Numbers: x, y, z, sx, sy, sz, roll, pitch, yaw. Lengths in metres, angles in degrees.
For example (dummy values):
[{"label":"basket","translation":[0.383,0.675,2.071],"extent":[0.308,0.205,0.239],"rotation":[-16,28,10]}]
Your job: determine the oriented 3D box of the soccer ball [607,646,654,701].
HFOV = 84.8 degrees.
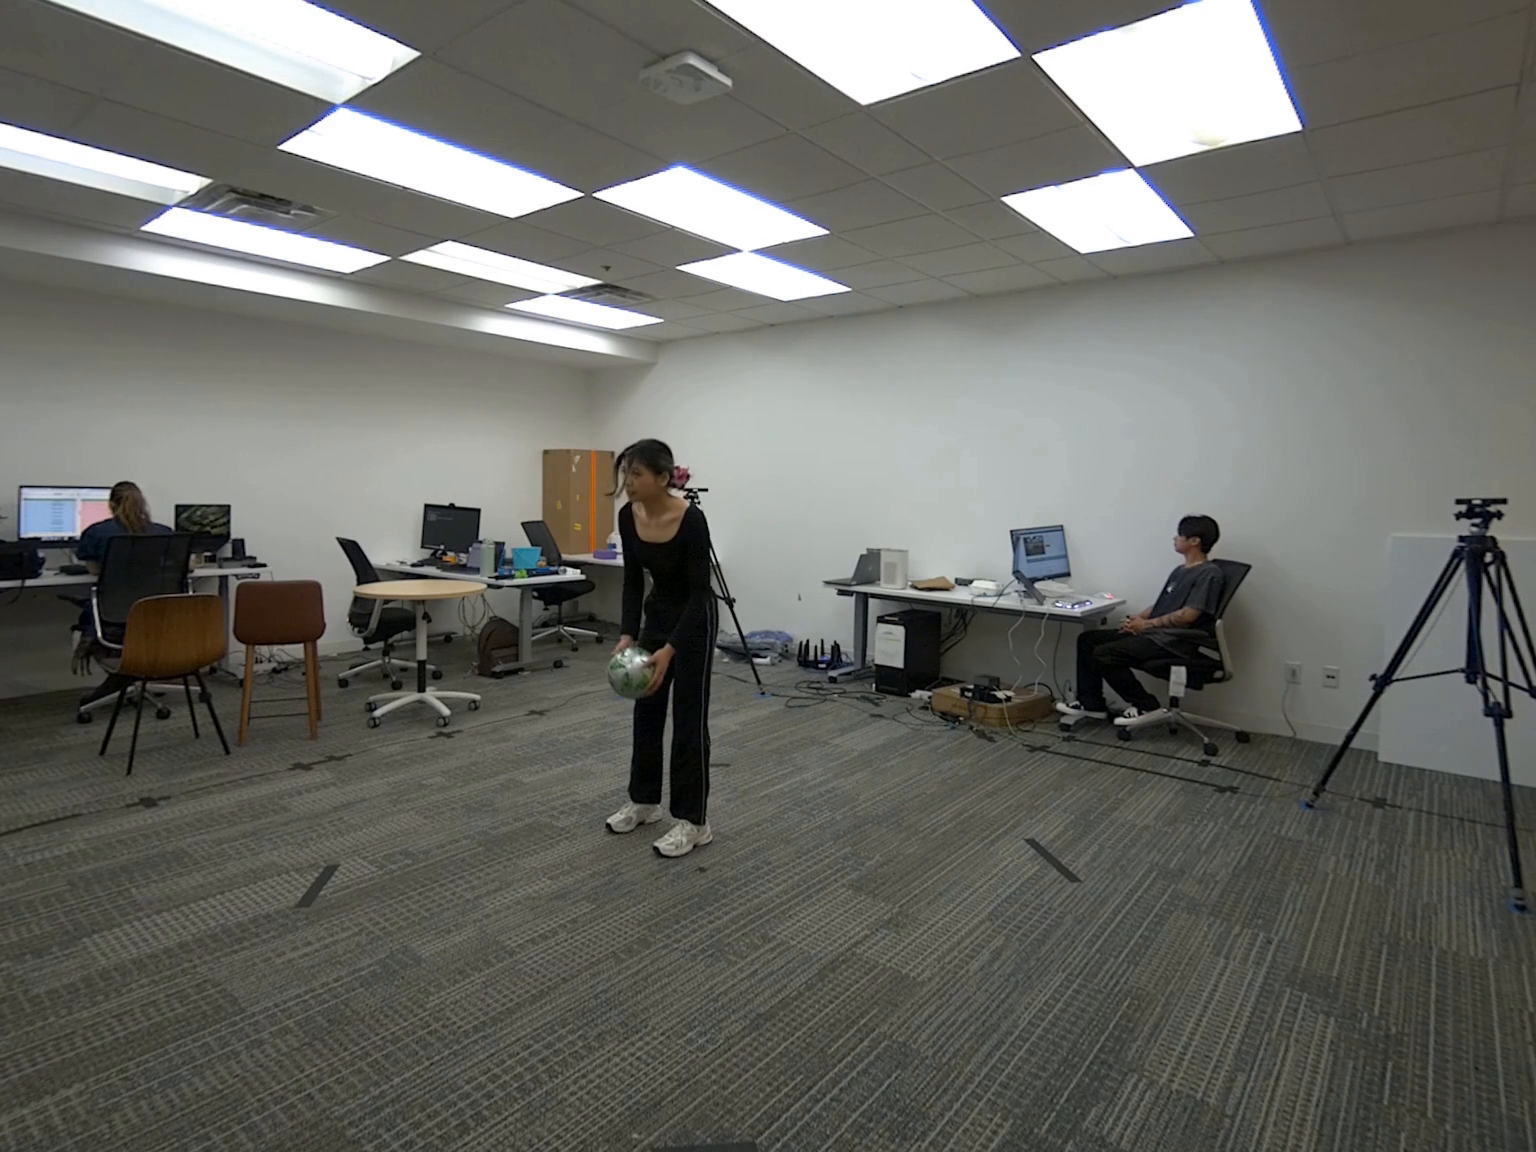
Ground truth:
[{"label":"soccer ball","translation":[-0.486,0.391,3.105],"extent":[0.187,0.187,0.188],"rotation":[1,4,-2]}]
